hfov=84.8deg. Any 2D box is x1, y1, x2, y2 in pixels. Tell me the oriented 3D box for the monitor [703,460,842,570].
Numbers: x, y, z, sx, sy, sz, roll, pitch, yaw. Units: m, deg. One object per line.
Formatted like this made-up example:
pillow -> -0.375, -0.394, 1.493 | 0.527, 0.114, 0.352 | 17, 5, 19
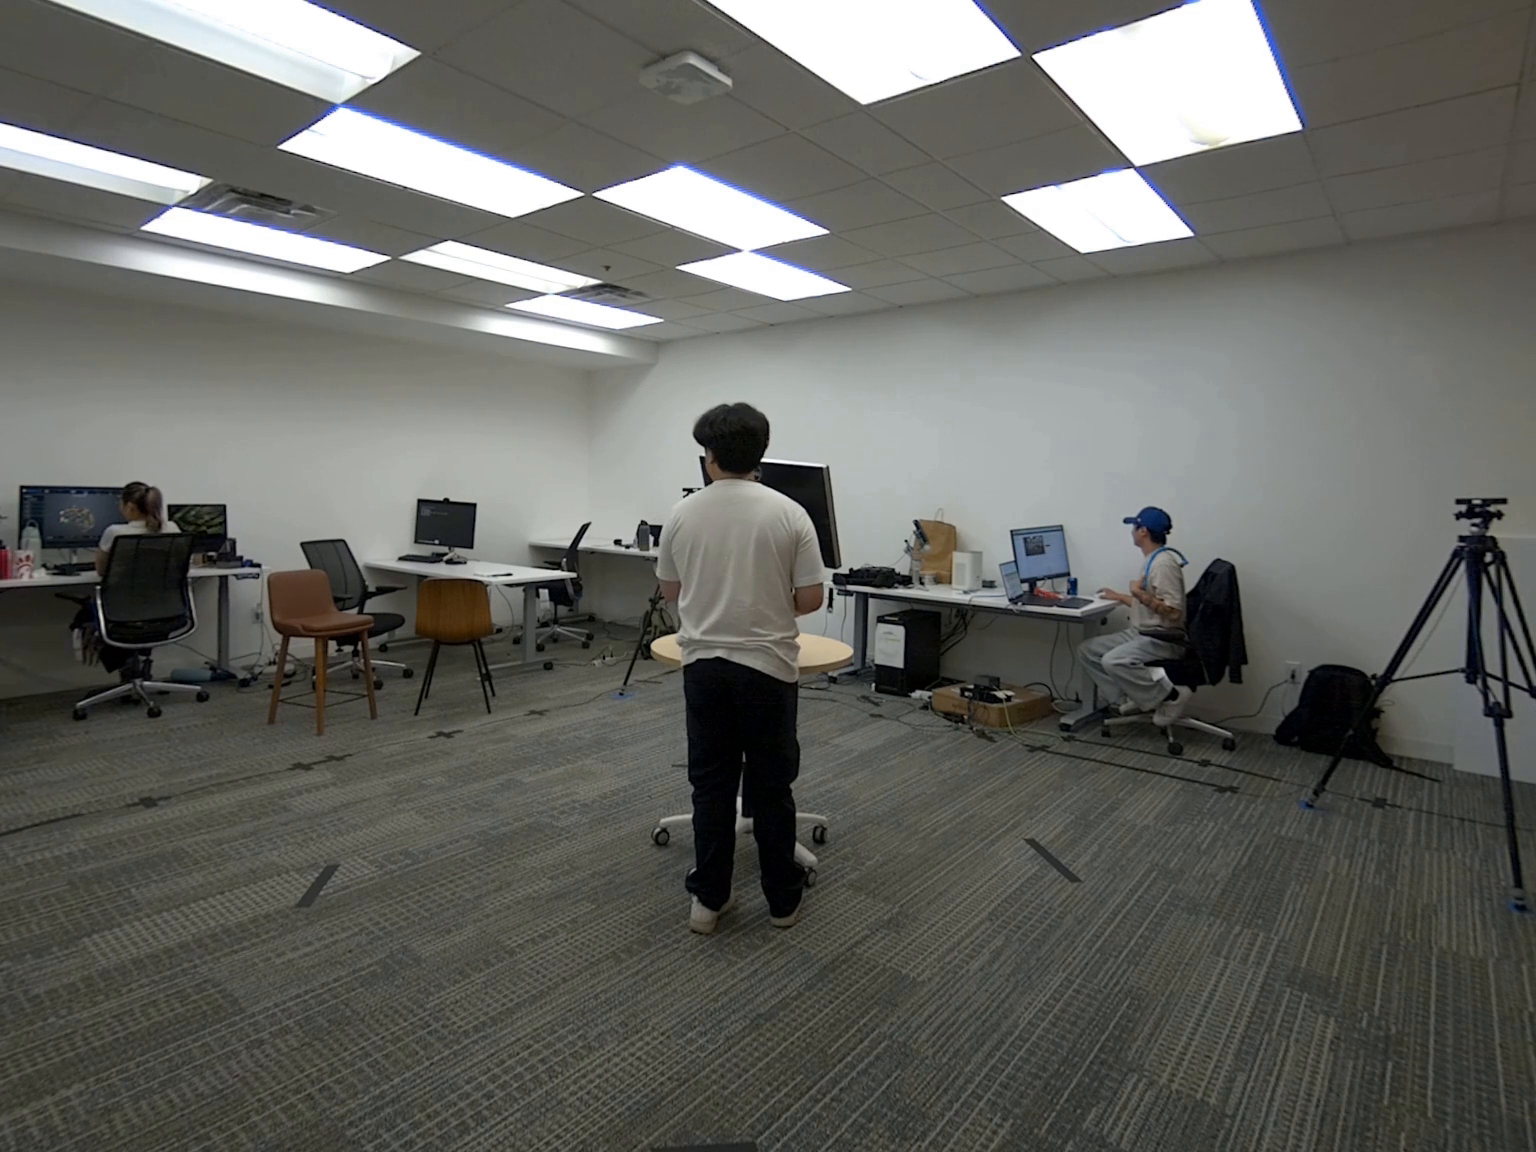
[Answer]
monitor -> -0.049, -0.127, 2.922 | 0.586, 0.544, 0.206 | 12, 24, 41
